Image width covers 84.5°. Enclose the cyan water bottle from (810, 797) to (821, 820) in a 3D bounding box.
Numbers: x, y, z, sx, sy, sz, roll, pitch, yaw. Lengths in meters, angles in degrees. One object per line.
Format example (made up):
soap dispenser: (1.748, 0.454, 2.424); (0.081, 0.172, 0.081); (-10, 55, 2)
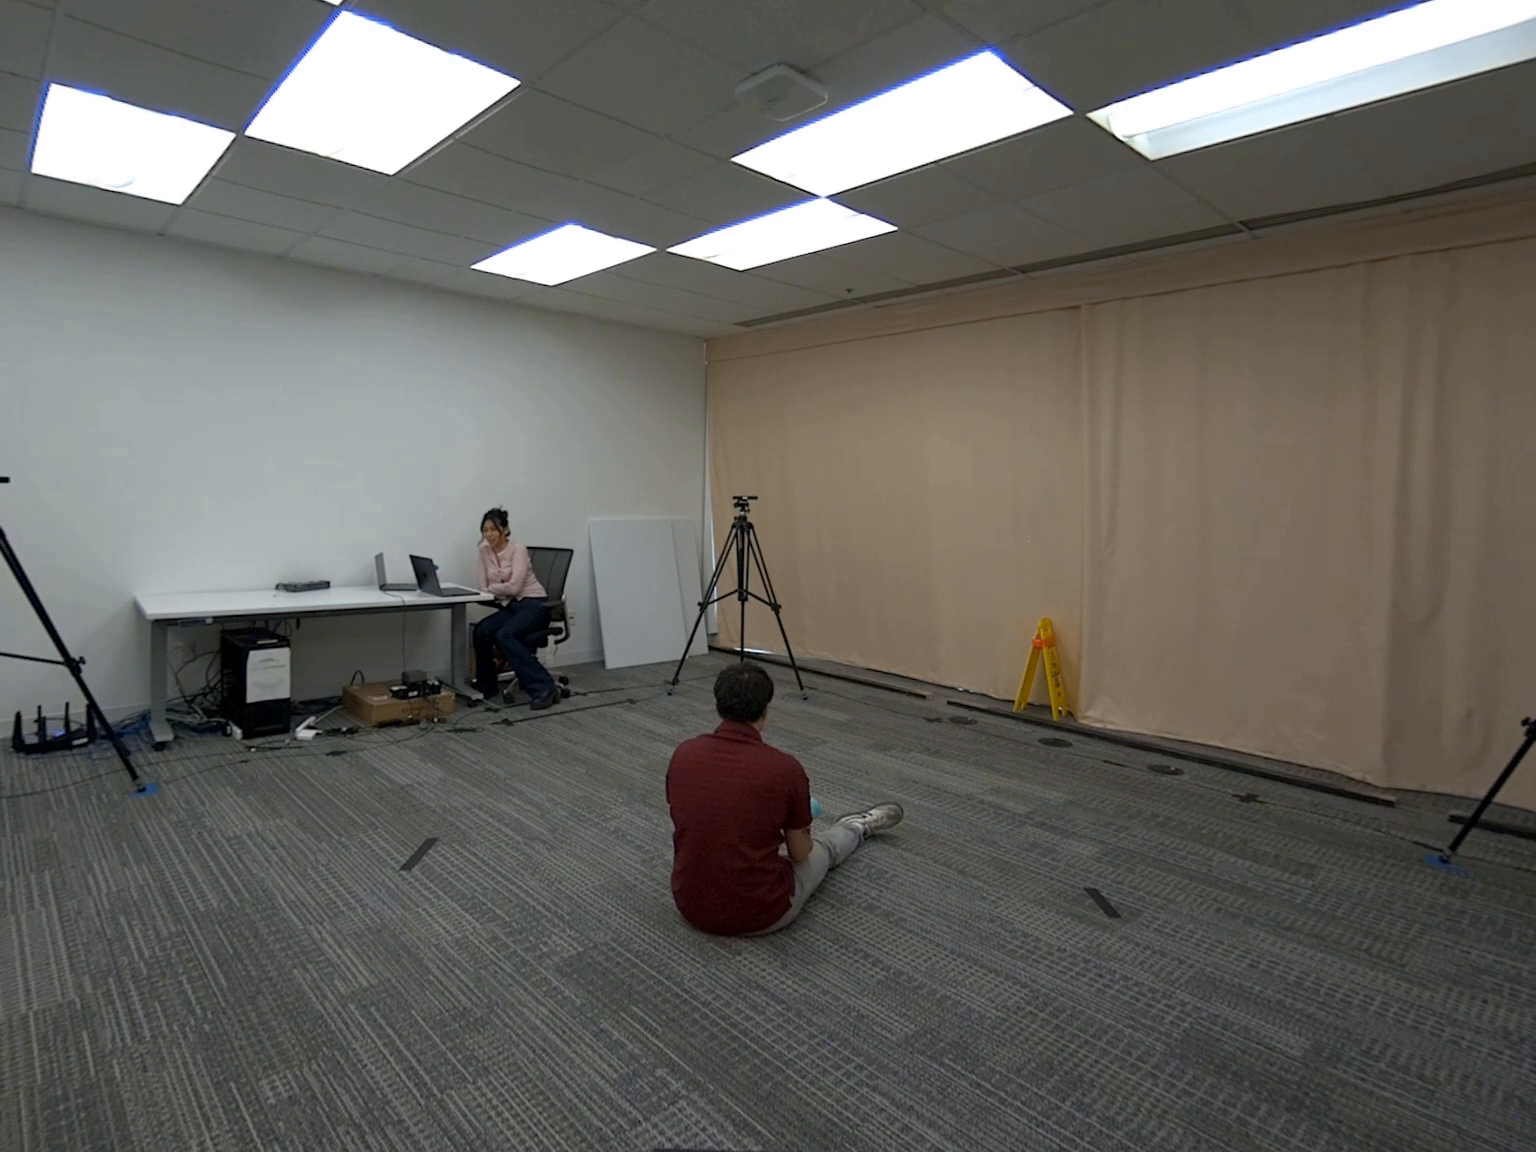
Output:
cyan water bottle: (0.090, 0.910, 3.130); (0.094, 0.092, 0.278); (4, 5, 29)
